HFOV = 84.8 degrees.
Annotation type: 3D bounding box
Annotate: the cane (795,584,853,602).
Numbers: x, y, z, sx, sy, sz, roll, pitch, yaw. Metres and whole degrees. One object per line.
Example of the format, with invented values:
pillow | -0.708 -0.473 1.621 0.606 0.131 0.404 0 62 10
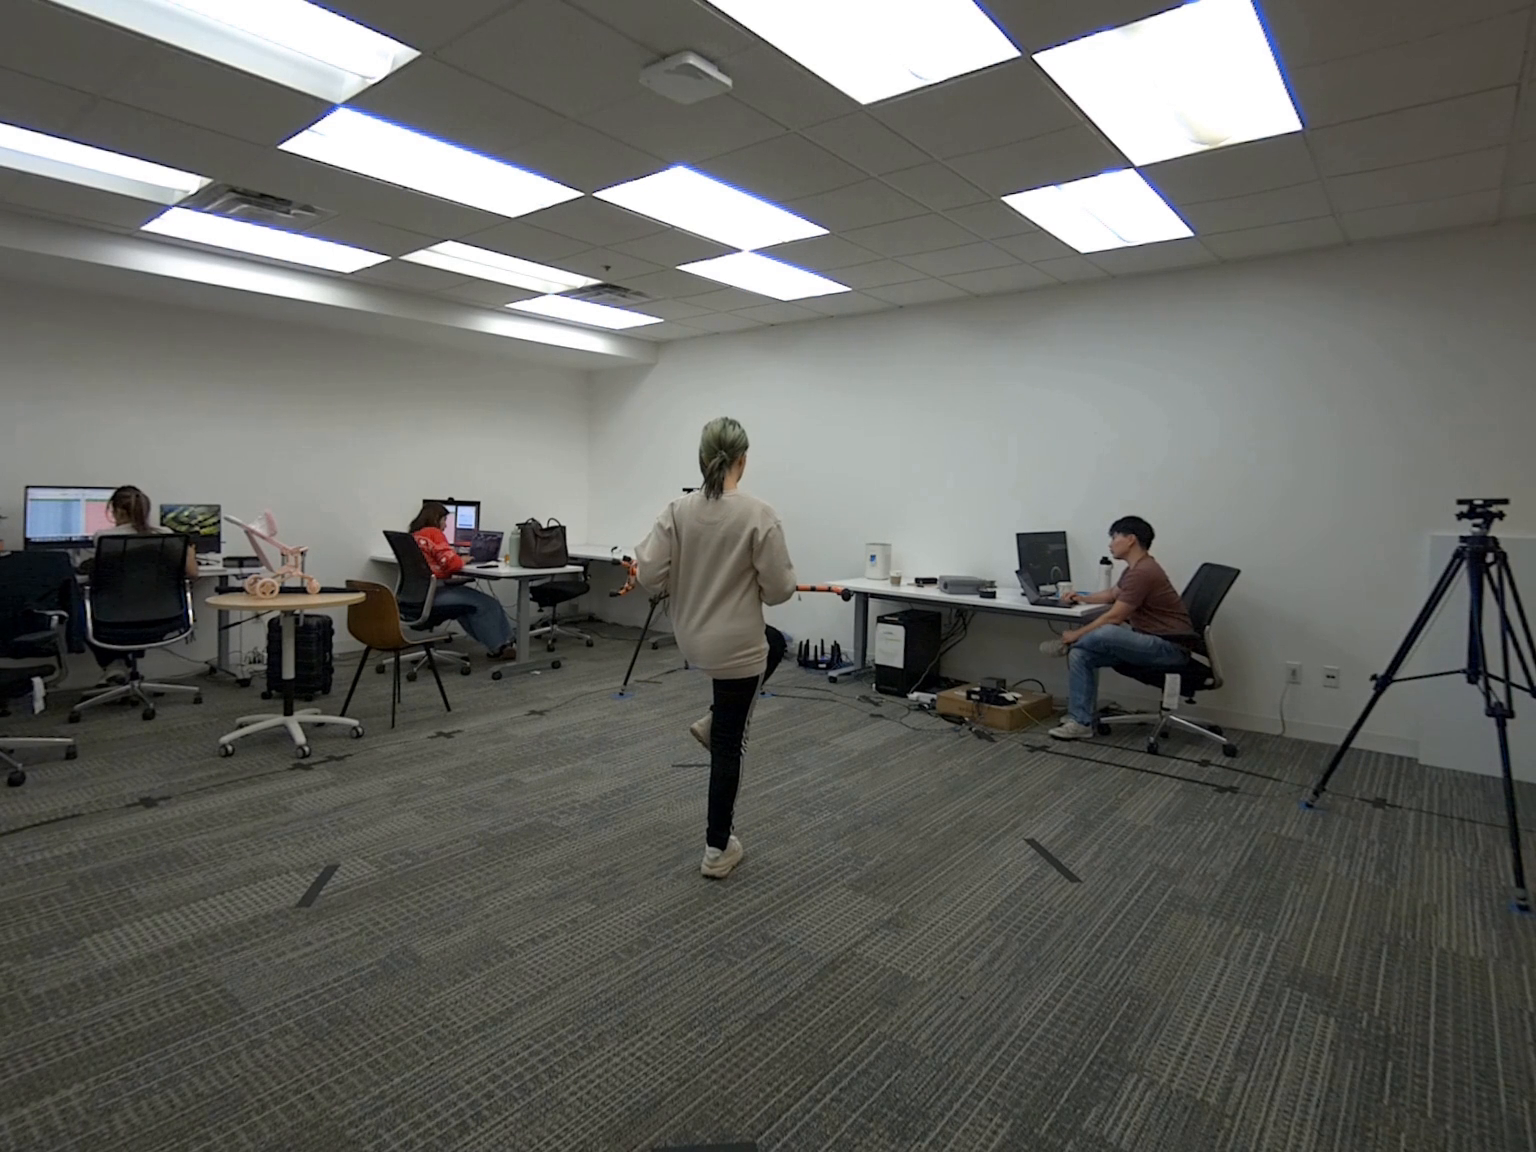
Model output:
cane | -0.150 0.031 3.310 0.913 0.151 0.206 4 3 5
